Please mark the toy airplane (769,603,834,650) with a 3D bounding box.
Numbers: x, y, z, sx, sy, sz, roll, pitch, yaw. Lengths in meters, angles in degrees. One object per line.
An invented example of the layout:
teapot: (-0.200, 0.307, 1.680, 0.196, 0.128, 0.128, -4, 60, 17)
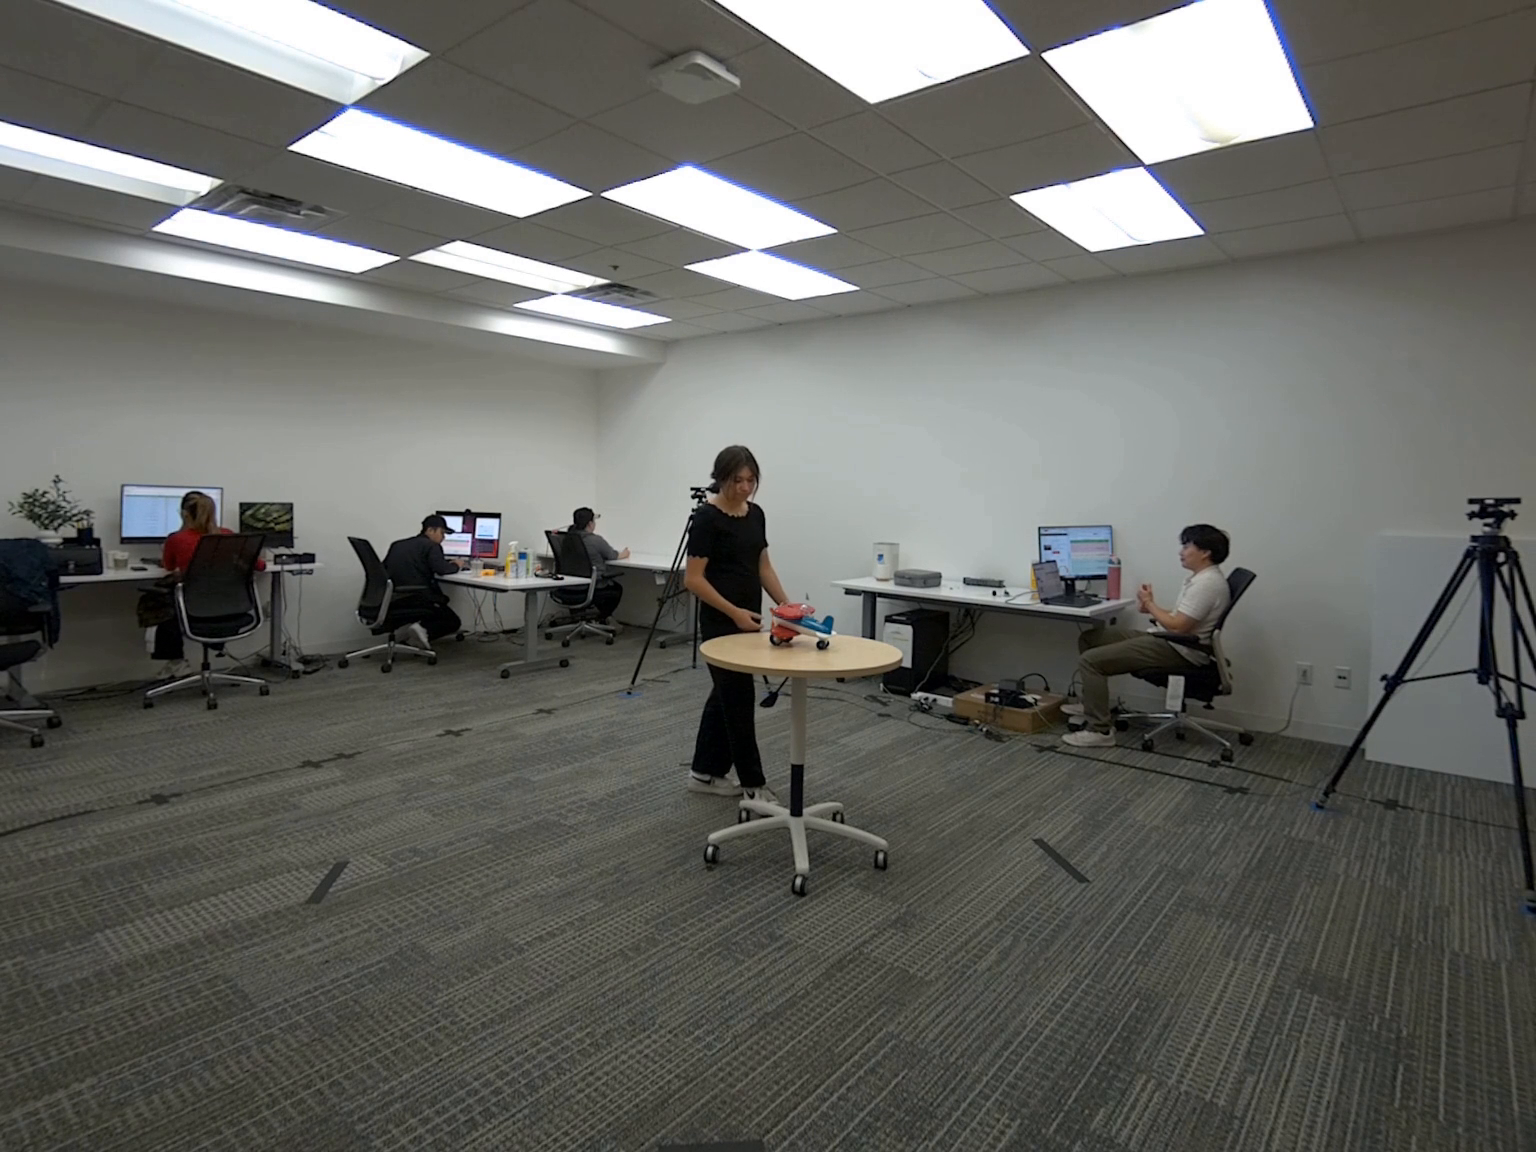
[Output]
toy airplane: (0.117, 0.188, 3.318, 0.259, 0.156, 0.252, 0, 5, 0)
